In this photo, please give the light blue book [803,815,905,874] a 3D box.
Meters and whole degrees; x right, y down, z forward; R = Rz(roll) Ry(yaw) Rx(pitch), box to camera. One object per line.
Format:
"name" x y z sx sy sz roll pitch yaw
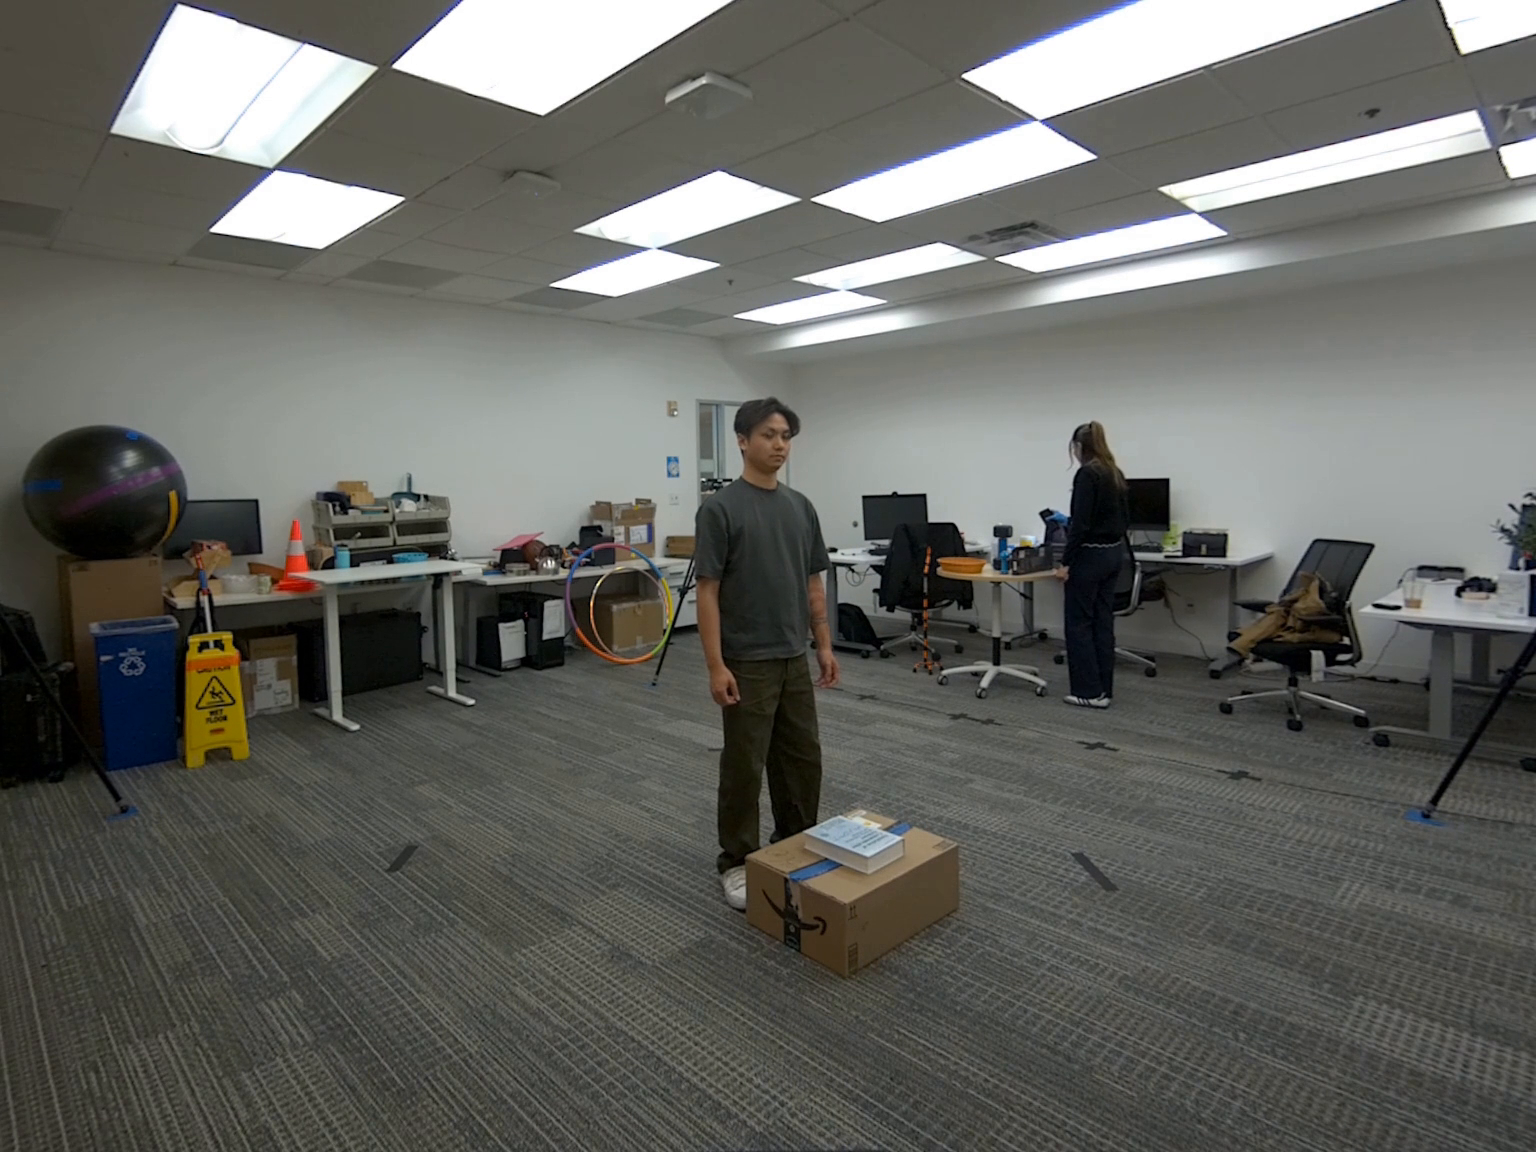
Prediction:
"light blue book" 0.273 0.844 2.707 0.186 0.059 0.269 -8 9 -44
